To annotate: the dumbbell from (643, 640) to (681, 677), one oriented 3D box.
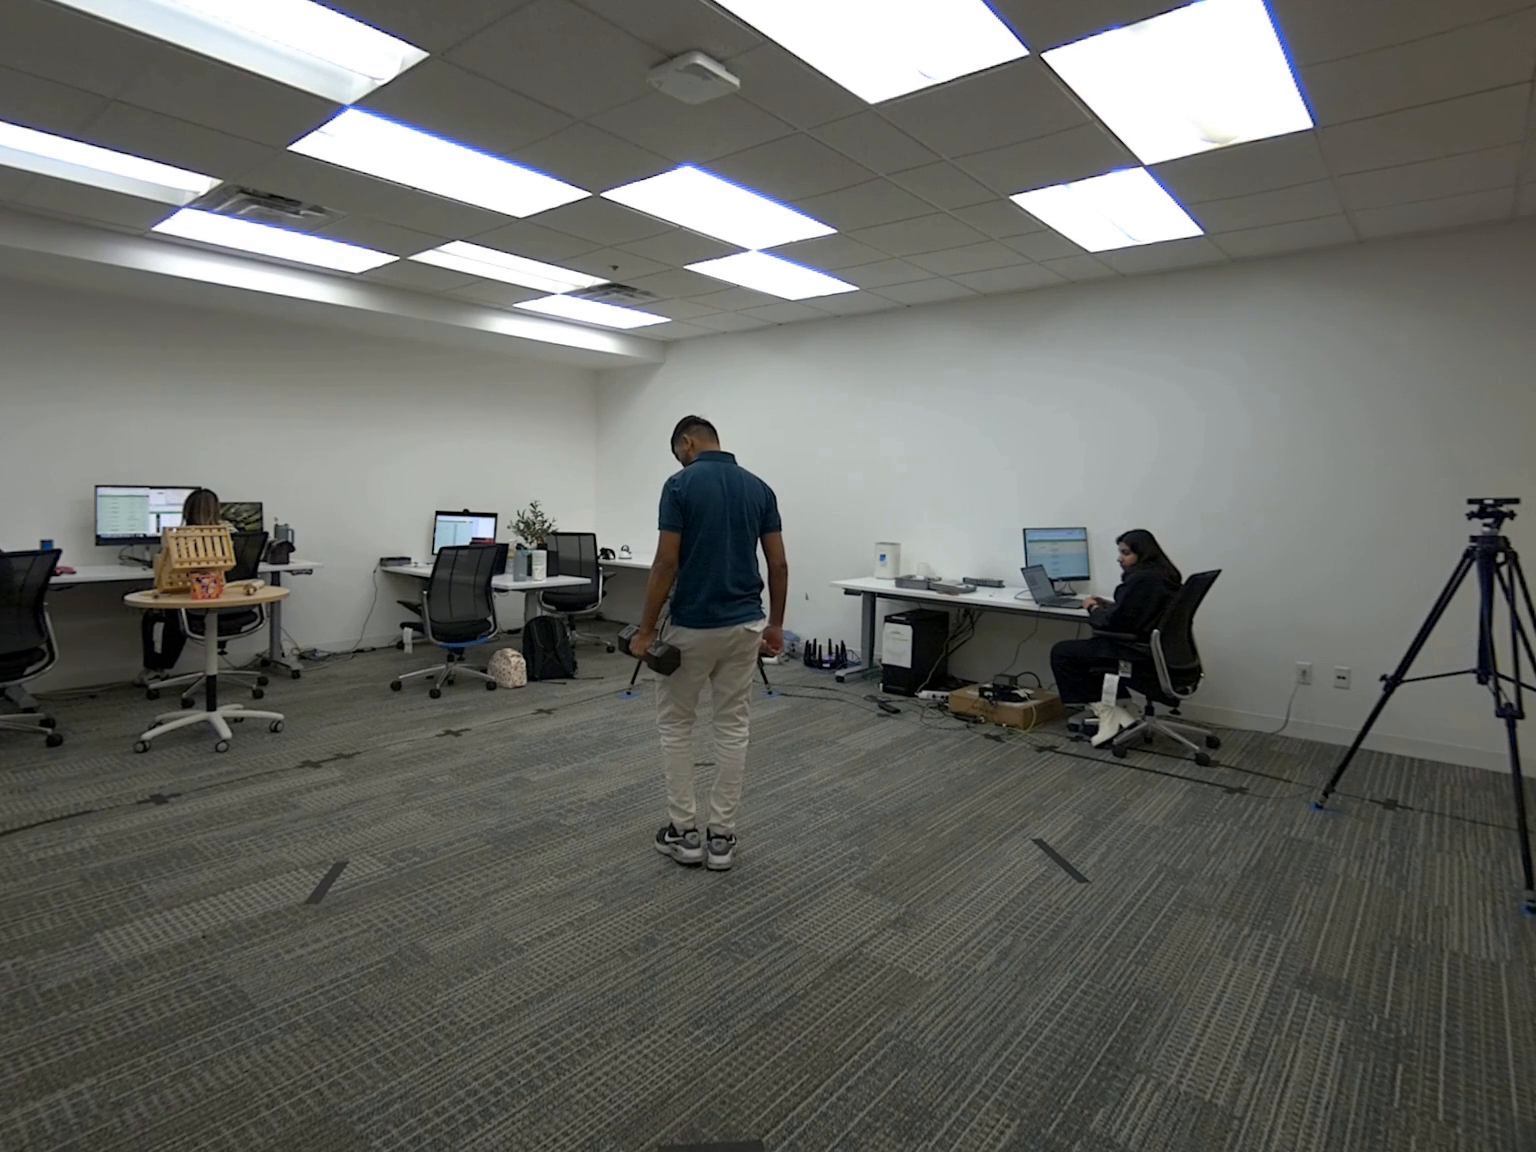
[{"bbox_3d":[-0.451,0.270,3.156,0.106,0.121,0.305,-9,18,-37],"label":"dumbbell"}]
